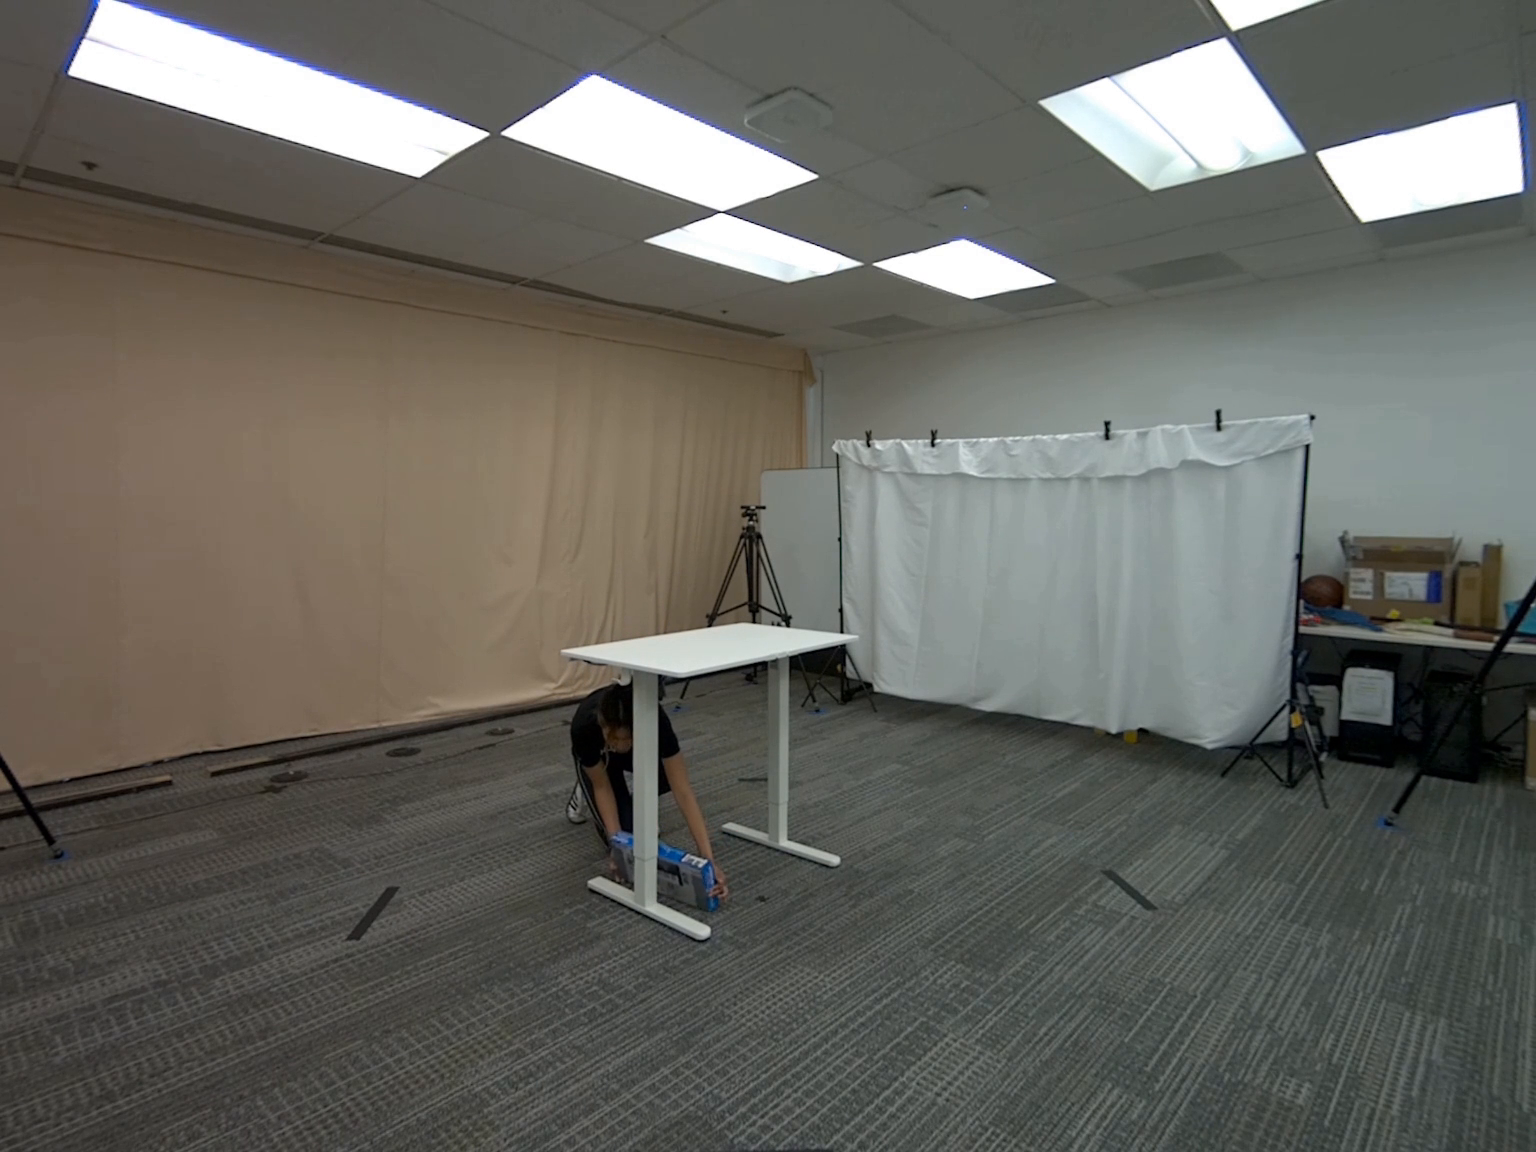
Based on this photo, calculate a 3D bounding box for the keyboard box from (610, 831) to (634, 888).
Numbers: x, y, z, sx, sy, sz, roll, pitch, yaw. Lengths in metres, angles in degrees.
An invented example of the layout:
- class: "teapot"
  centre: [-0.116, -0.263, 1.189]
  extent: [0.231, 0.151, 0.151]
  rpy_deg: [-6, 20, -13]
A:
- class: "keyboard box"
  centre: [-0.378, 1.046, 3.001]
  extent: [0.450, 0.174, 0.058]
  rpy_deg: [3, 18, 36]
